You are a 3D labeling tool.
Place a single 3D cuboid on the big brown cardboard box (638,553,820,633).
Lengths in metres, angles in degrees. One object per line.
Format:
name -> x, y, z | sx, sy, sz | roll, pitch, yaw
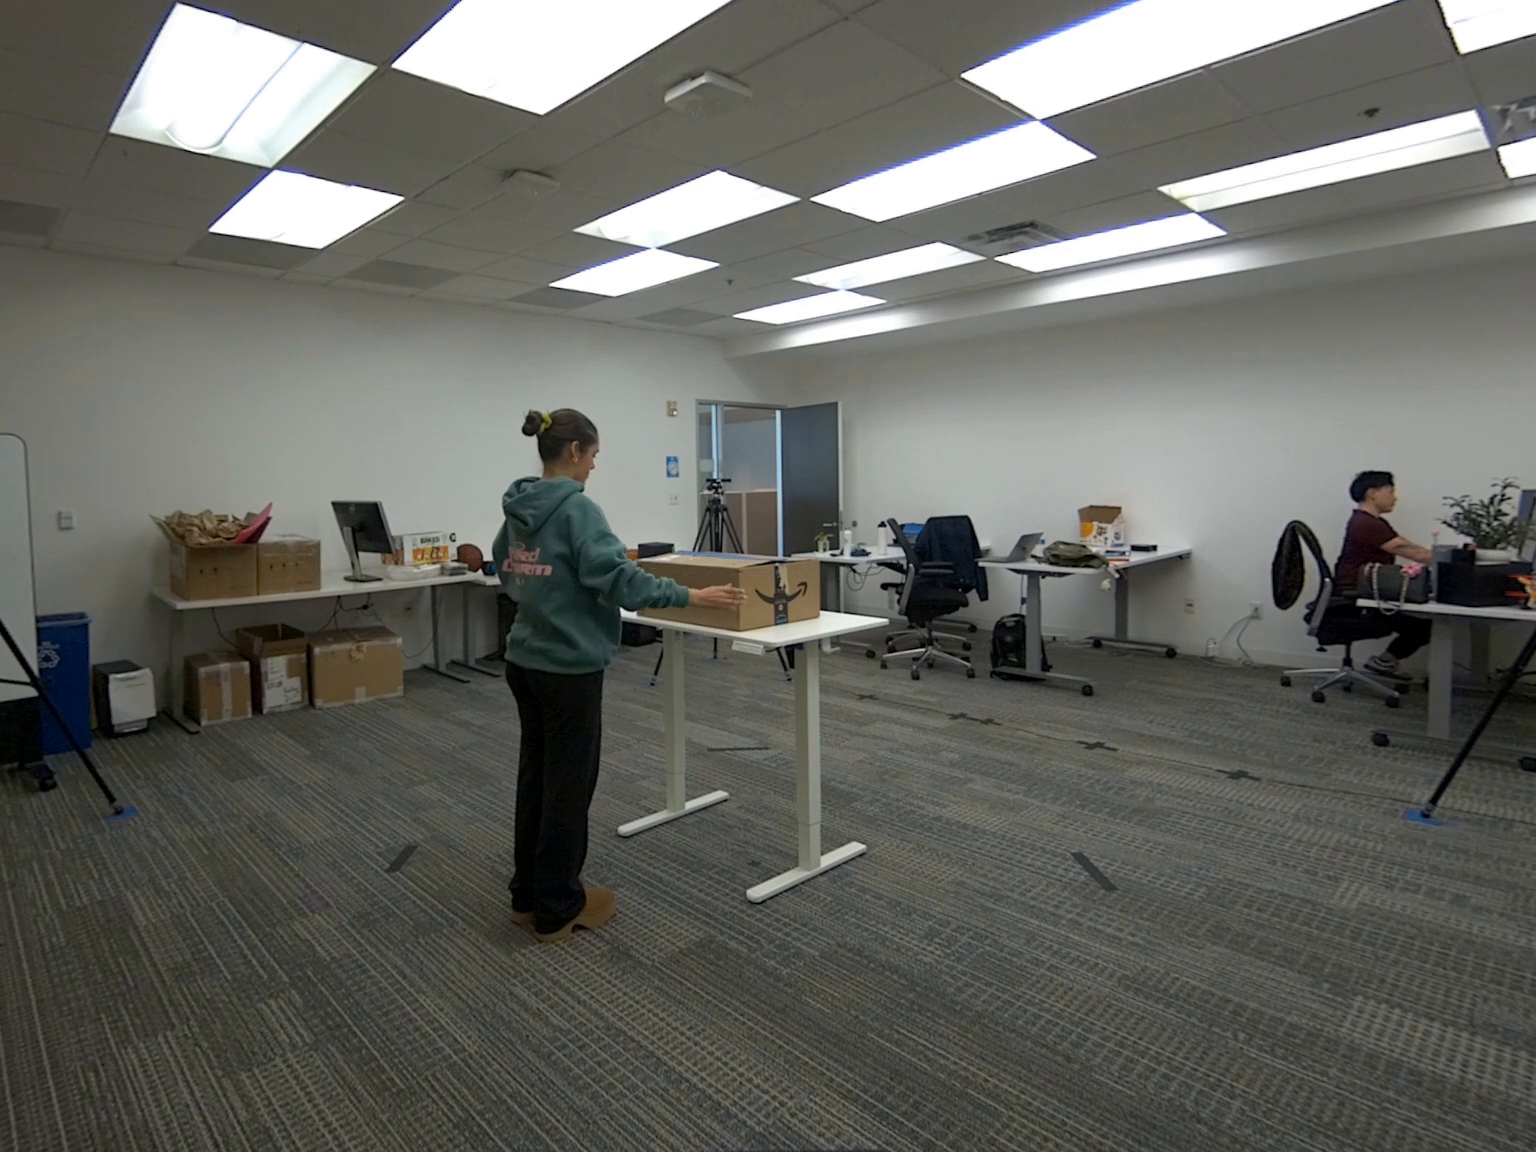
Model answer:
big brown cardboard box -> -0.163, 0.046, 3.202 | 0.607, 0.232, 0.406 | 6, 8, 44
